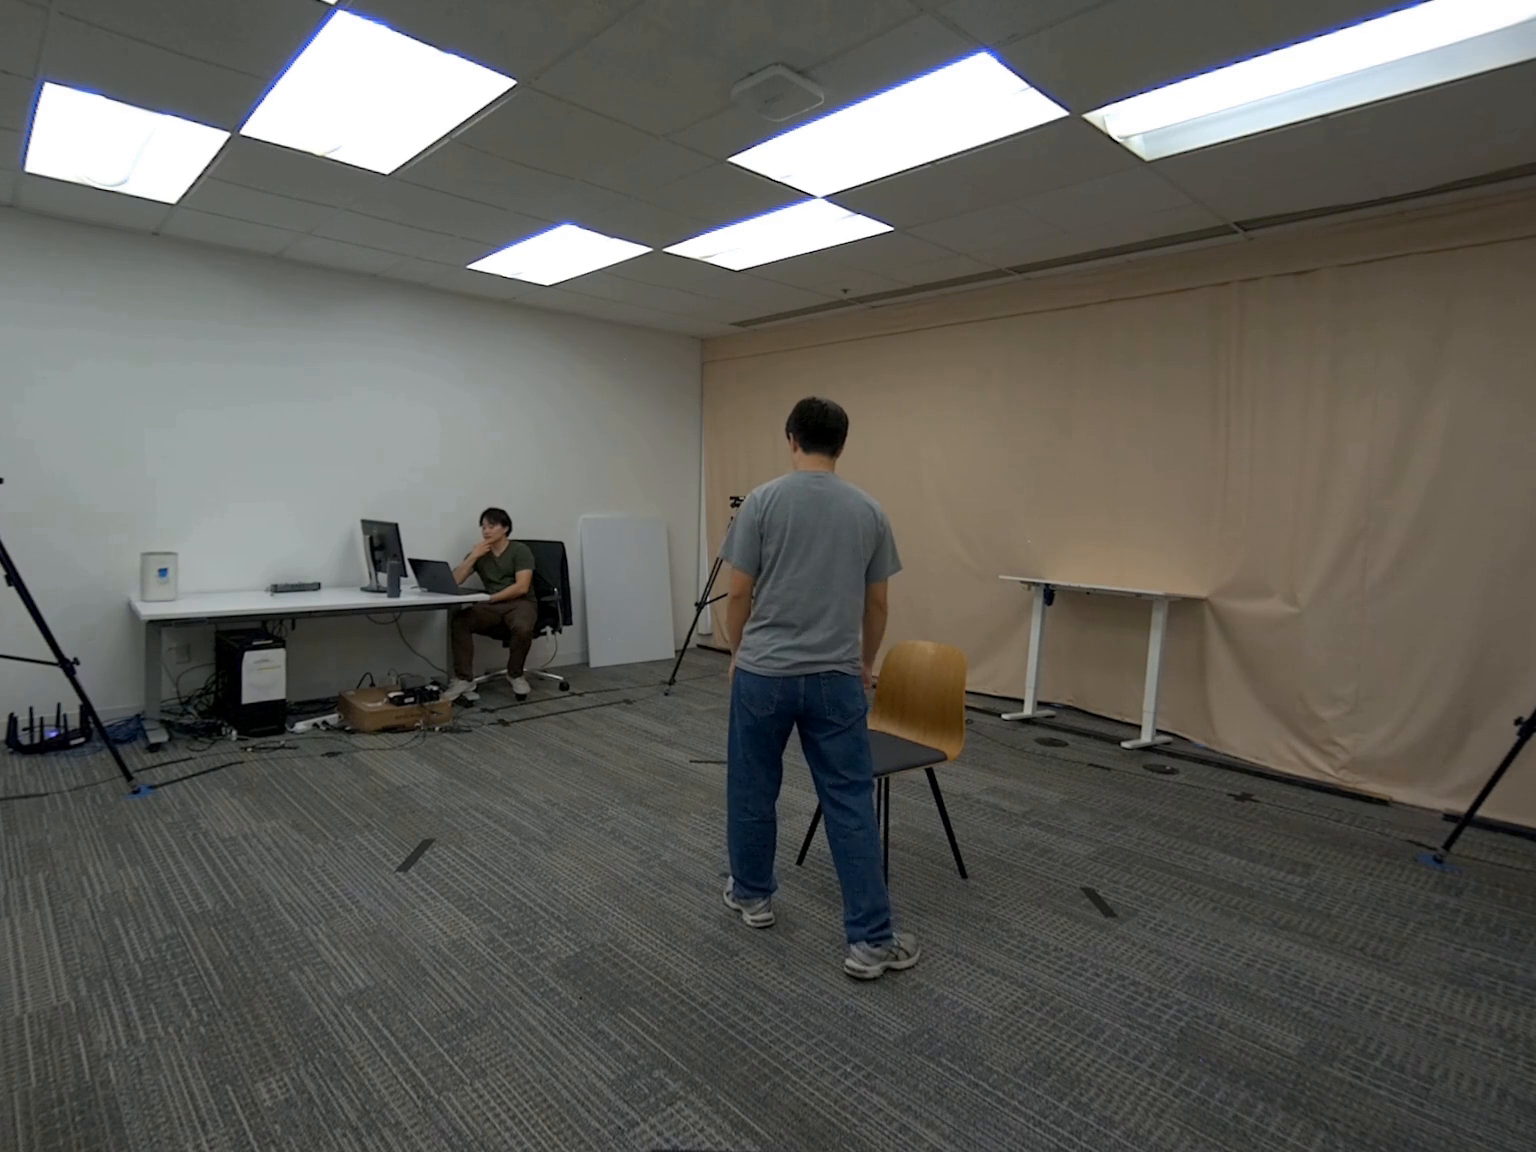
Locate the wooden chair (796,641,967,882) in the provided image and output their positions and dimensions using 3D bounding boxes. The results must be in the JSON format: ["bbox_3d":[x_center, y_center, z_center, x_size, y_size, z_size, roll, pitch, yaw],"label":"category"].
[{"bbox_3d":[0.425,0.690,3.132,0.510,0.877,0.490,4,1,-39],"label":"wooden chair"}]
